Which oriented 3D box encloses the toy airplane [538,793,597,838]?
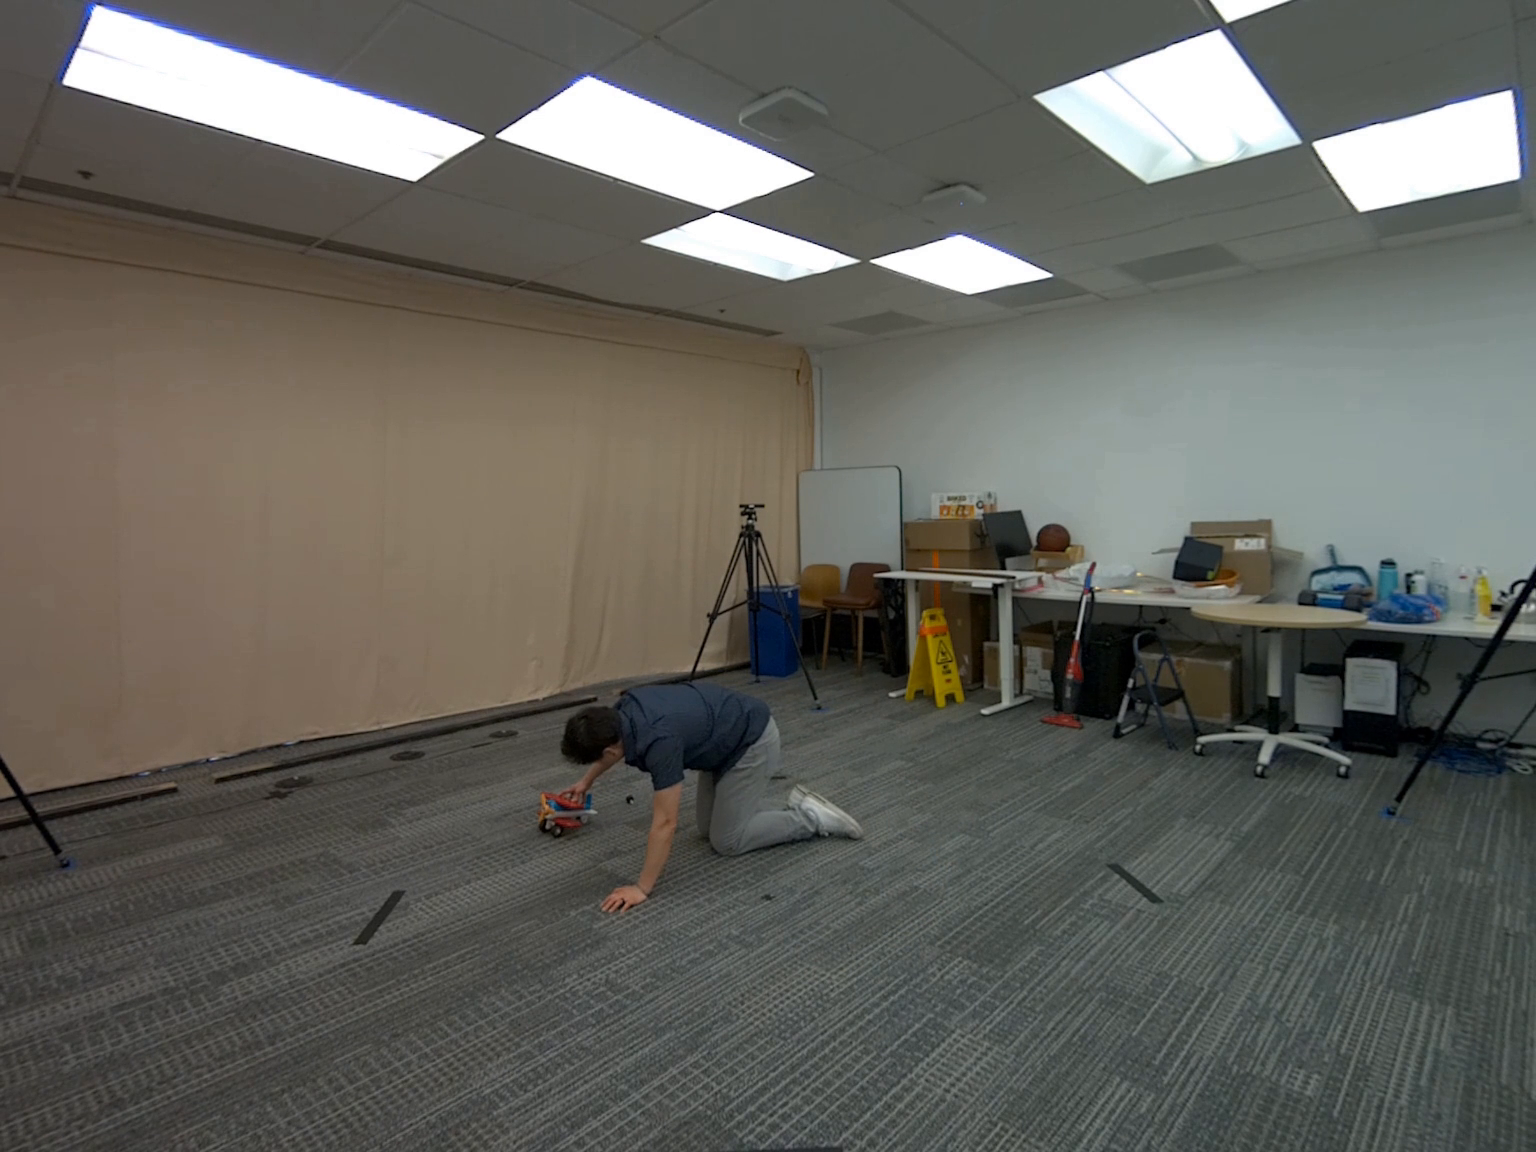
[{"bbox_3d":[-0.895,1.037,3.698,0.255,0.156,0.255,3,6,15],"label":"toy airplane"}]
